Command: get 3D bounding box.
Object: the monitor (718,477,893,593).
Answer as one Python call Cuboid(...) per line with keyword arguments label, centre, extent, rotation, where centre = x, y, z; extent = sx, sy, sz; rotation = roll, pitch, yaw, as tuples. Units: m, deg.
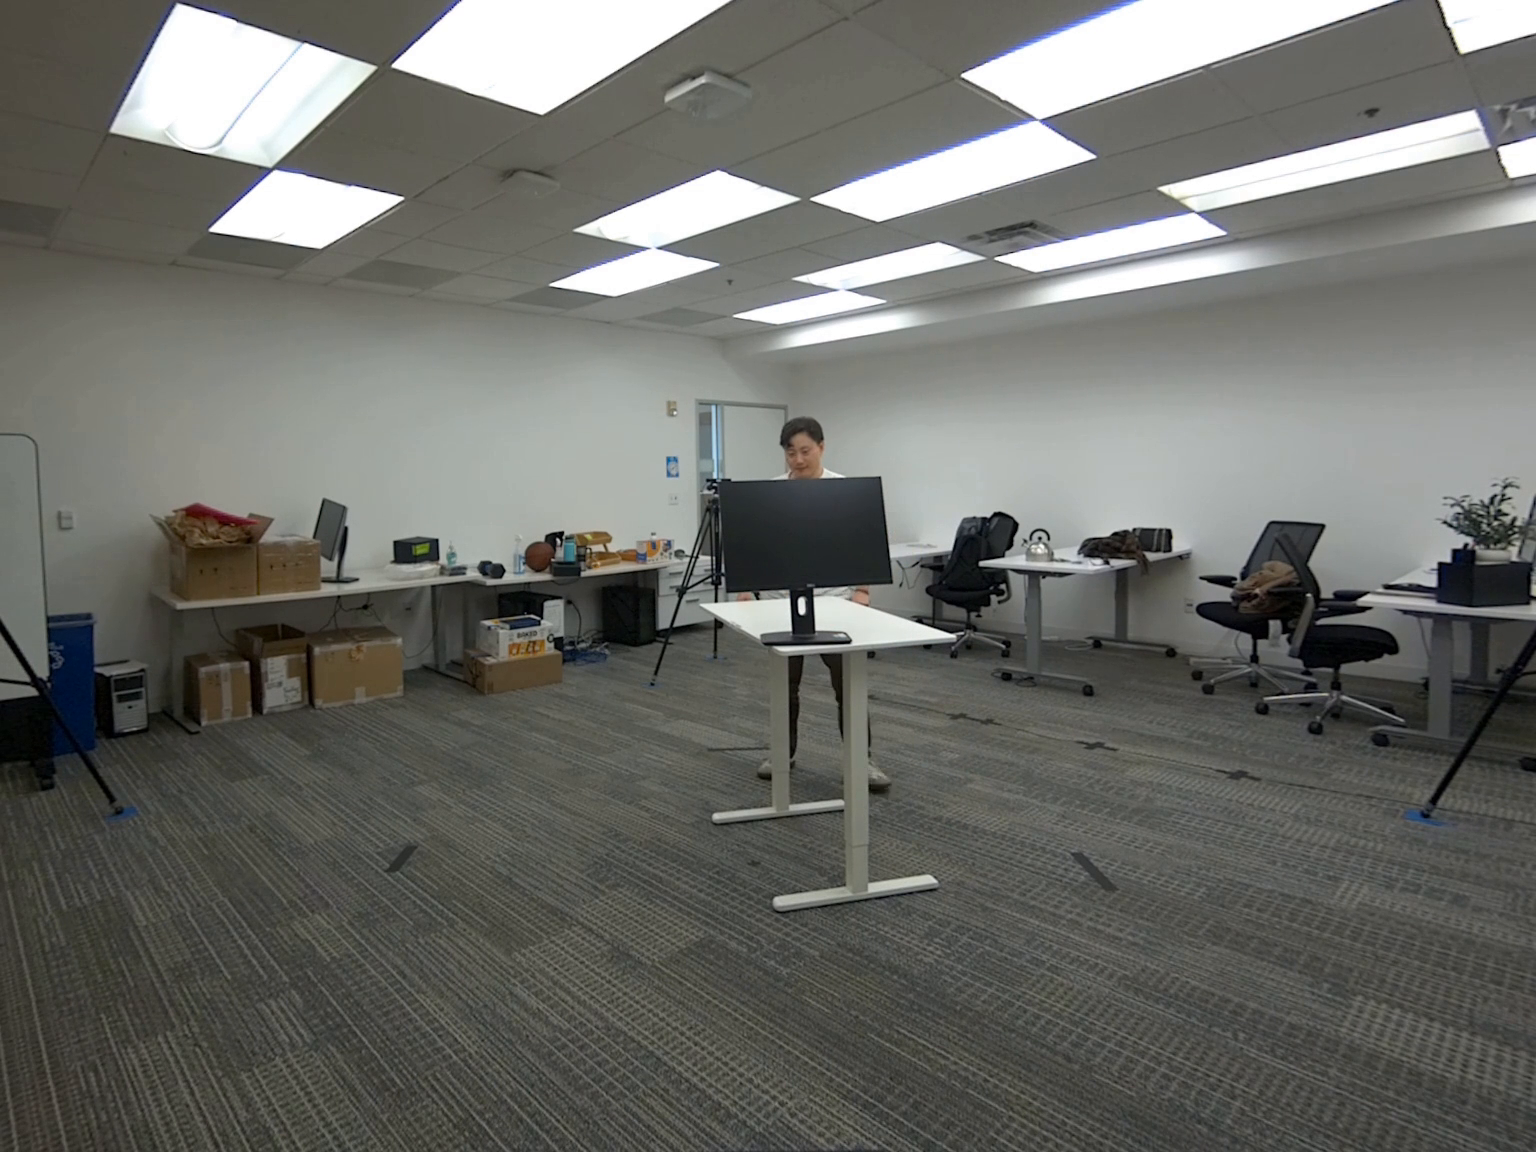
Cuboid(label="monitor", centre=(0.111, -0.046, 2.722), extent=(0.533, 0.521, 0.189), rotation=(-3, 3, -12))
